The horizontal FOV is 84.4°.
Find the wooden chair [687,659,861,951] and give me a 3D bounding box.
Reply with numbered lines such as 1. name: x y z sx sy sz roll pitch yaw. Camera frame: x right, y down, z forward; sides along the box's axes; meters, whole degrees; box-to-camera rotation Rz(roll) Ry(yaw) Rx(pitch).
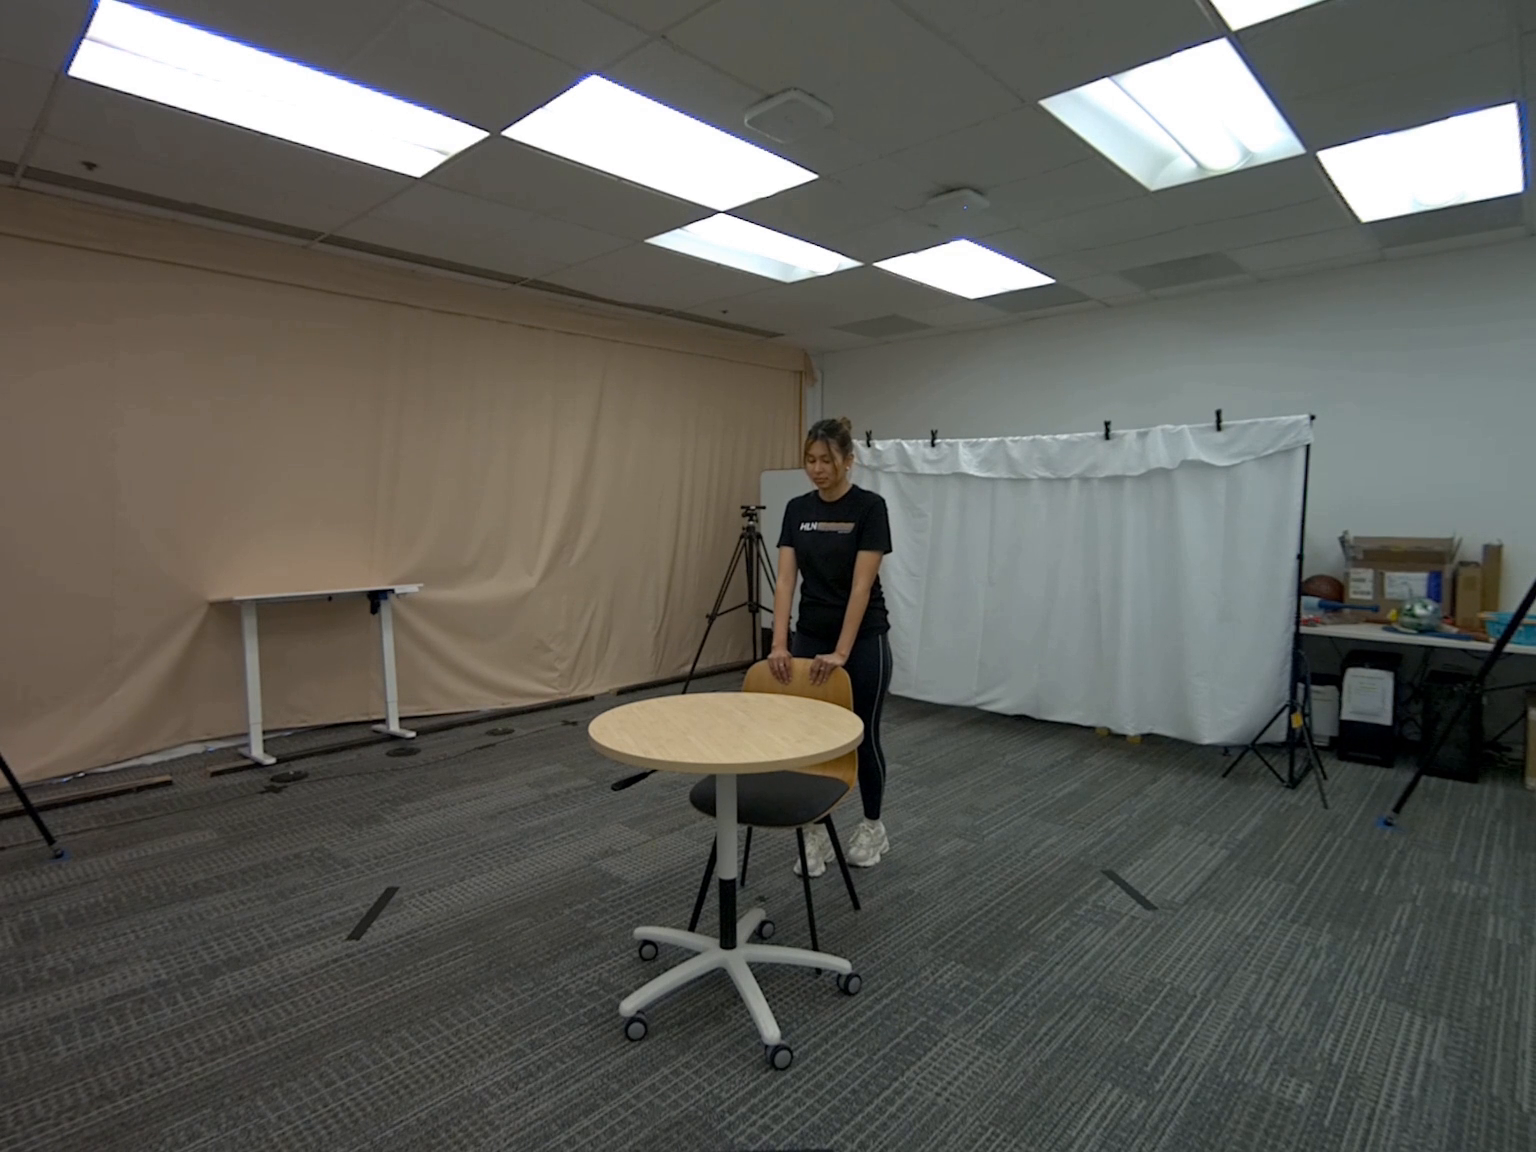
1. wooden chair: 0.028 0.734 2.760 0.490 0.877 0.510 2 0 24
